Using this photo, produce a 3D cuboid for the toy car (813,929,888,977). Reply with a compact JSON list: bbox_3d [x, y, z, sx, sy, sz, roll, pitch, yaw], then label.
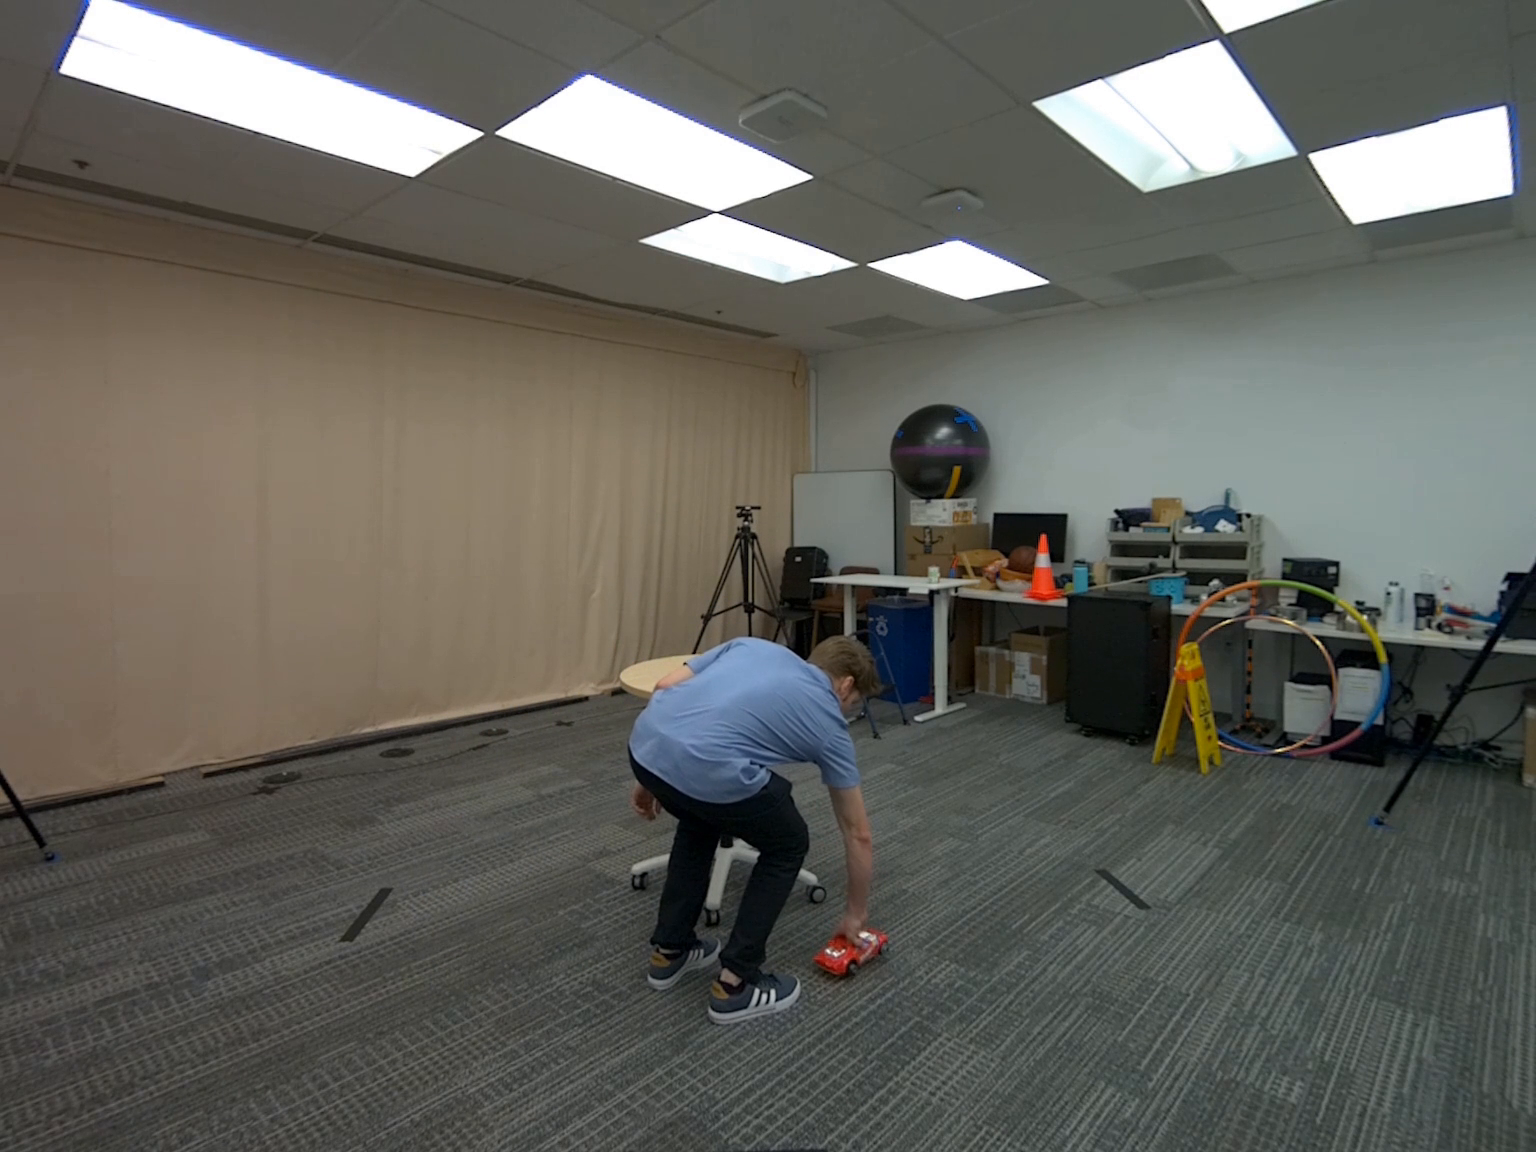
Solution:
[{"bbox_3d":[0.253,1.140,2.535,0.246,0.083,0.134,4,-3,-38],"label":"toy car"}]
